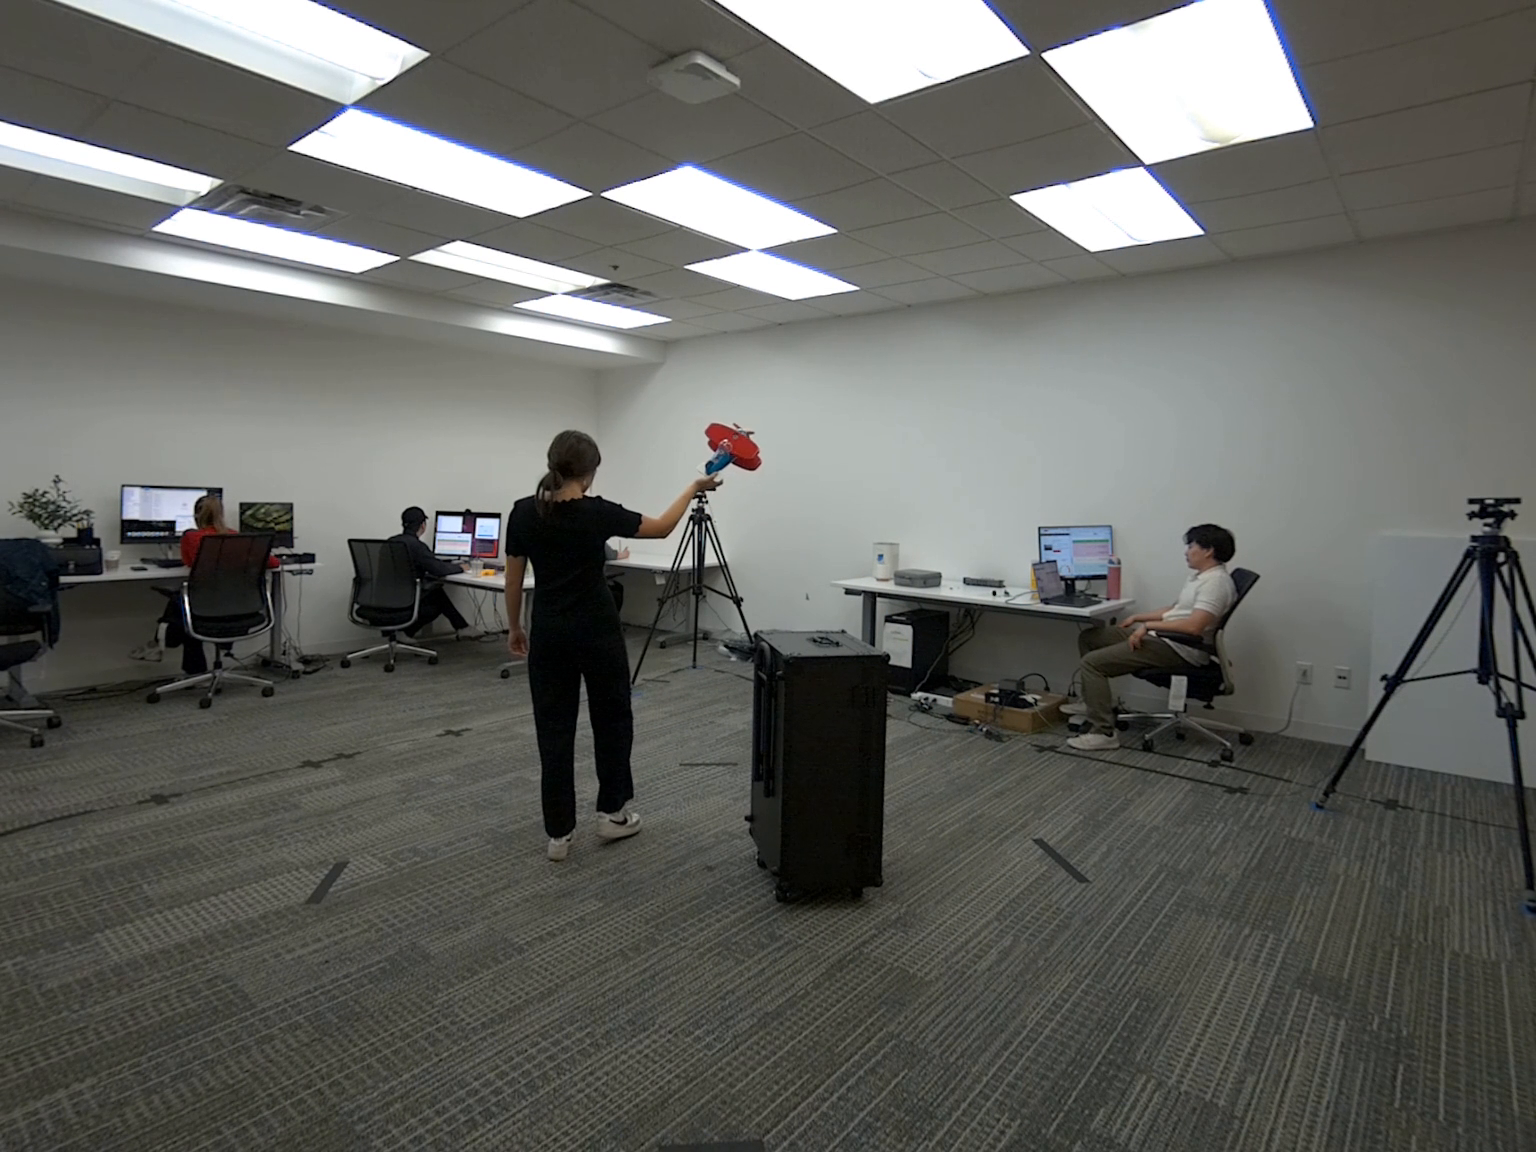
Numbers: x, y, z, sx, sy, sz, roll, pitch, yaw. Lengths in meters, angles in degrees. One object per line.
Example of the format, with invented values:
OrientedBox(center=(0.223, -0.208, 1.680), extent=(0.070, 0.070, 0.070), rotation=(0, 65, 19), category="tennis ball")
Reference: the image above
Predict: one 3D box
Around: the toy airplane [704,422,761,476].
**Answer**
OrientedBox(center=(-0.161, -0.488, 3.454), extent=(0.253, 0.264, 0.152), rotation=(9, -40, 7), category="toy airplane")
